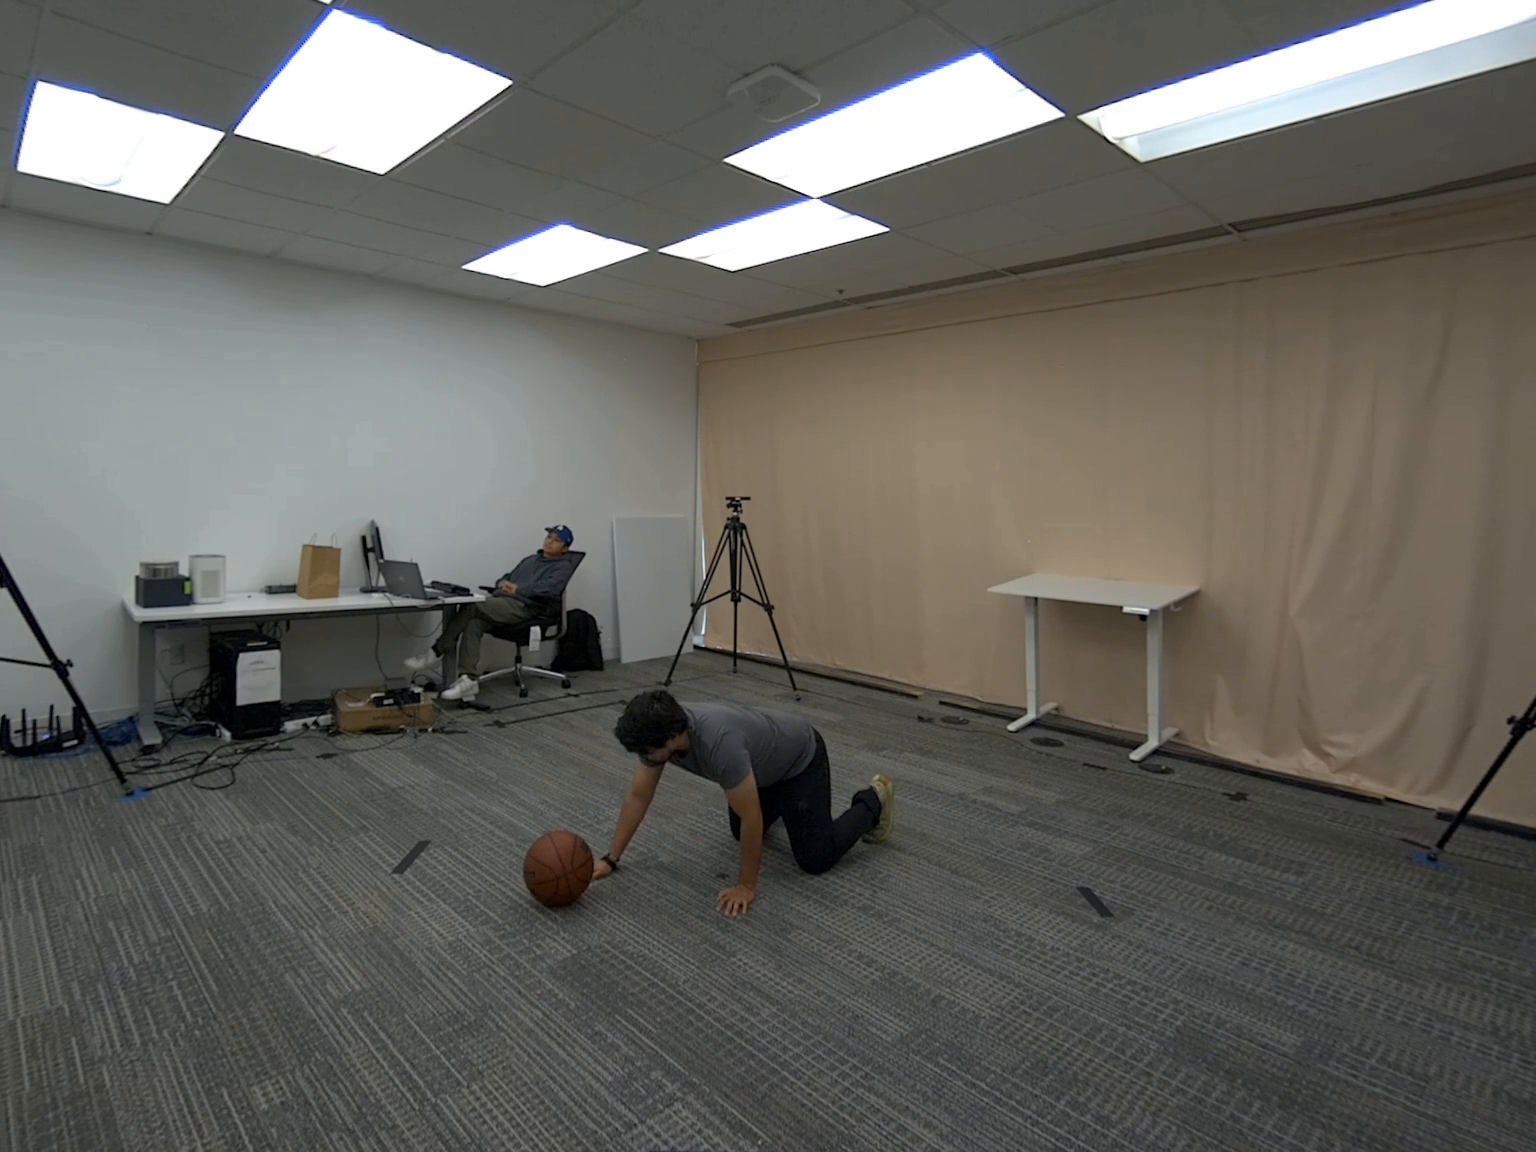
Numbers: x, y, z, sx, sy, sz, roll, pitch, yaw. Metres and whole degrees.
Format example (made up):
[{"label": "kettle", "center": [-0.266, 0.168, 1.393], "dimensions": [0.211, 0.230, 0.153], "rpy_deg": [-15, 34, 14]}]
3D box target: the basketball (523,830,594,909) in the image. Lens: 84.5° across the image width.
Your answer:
[{"label": "basketball", "center": [-0.722, 0.995, 2.871], "dimensions": [0.236, 0.235, 0.237], "rpy_deg": [1, 4, -1]}]
